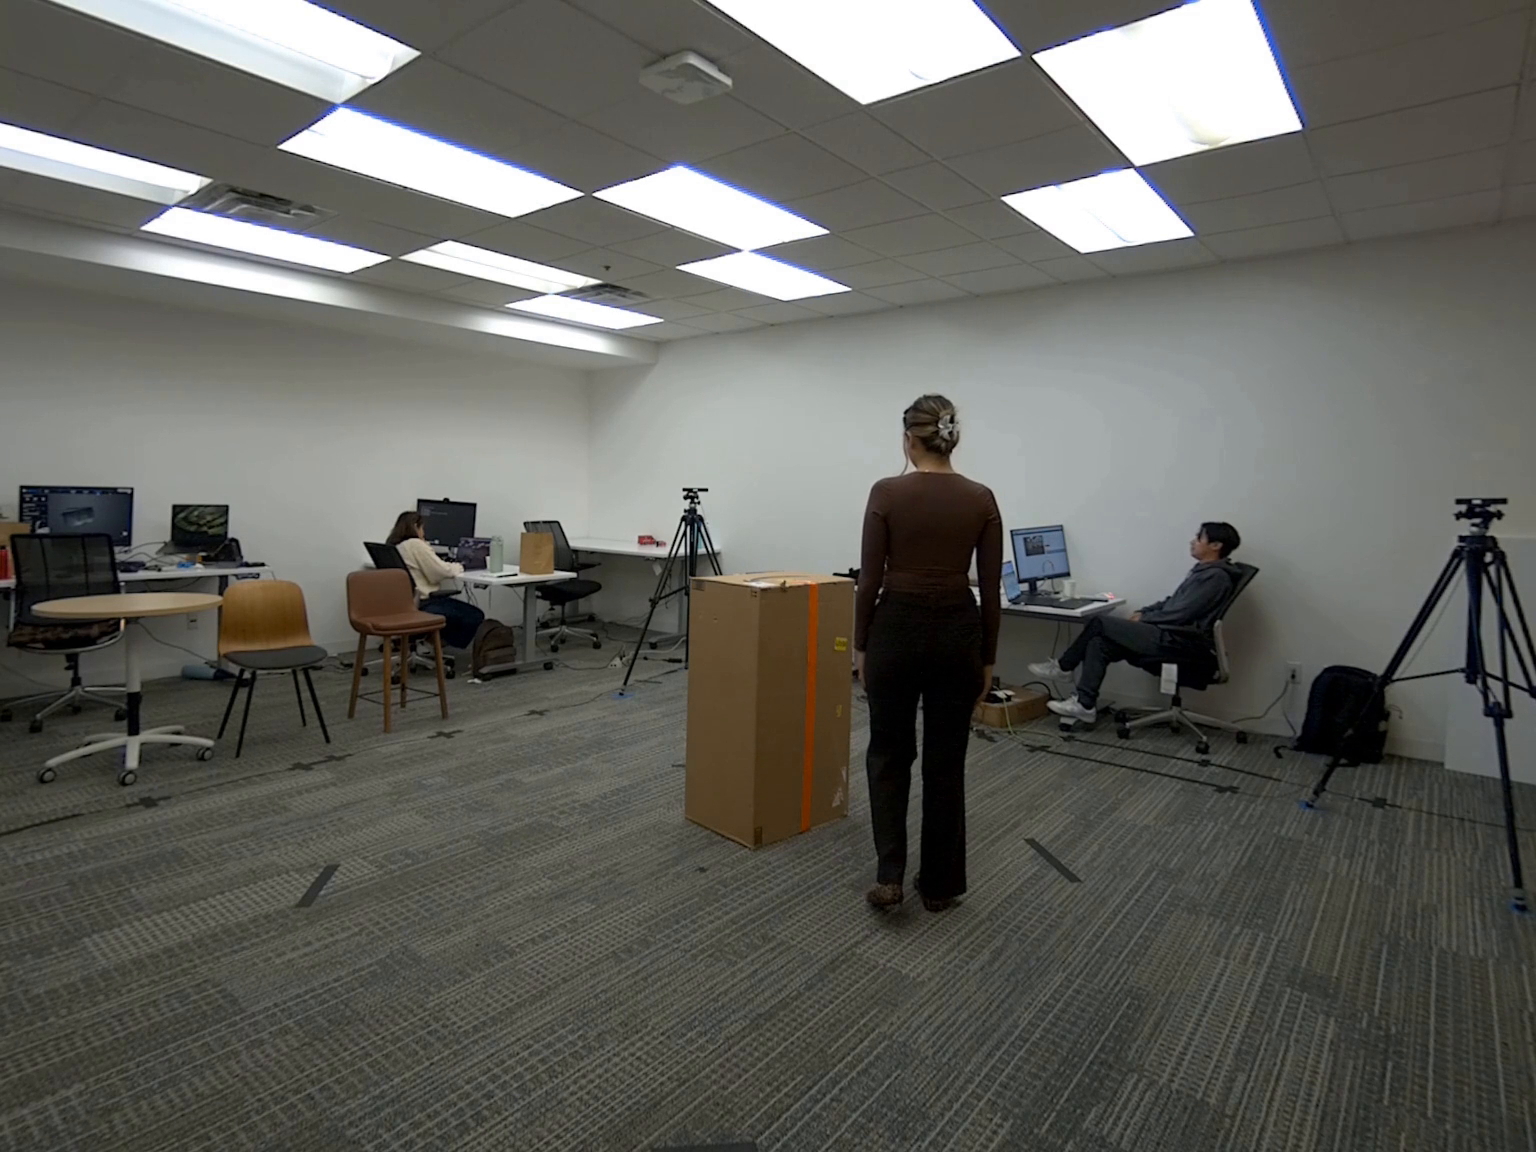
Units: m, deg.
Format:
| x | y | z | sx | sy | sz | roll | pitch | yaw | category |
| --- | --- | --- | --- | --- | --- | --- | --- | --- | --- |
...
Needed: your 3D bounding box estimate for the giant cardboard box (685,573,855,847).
| x | y | z | sx | sy | sz | roll | pitch | yaw | category |
| --- | --- | --- | --- | --- | --- | --- | --- | --- | --- |
| -0.001 | 0.515 | 3.604 | 0.566 | 1.023 | 0.462 | -2 | 5 | -42 | giant cardboard box |
